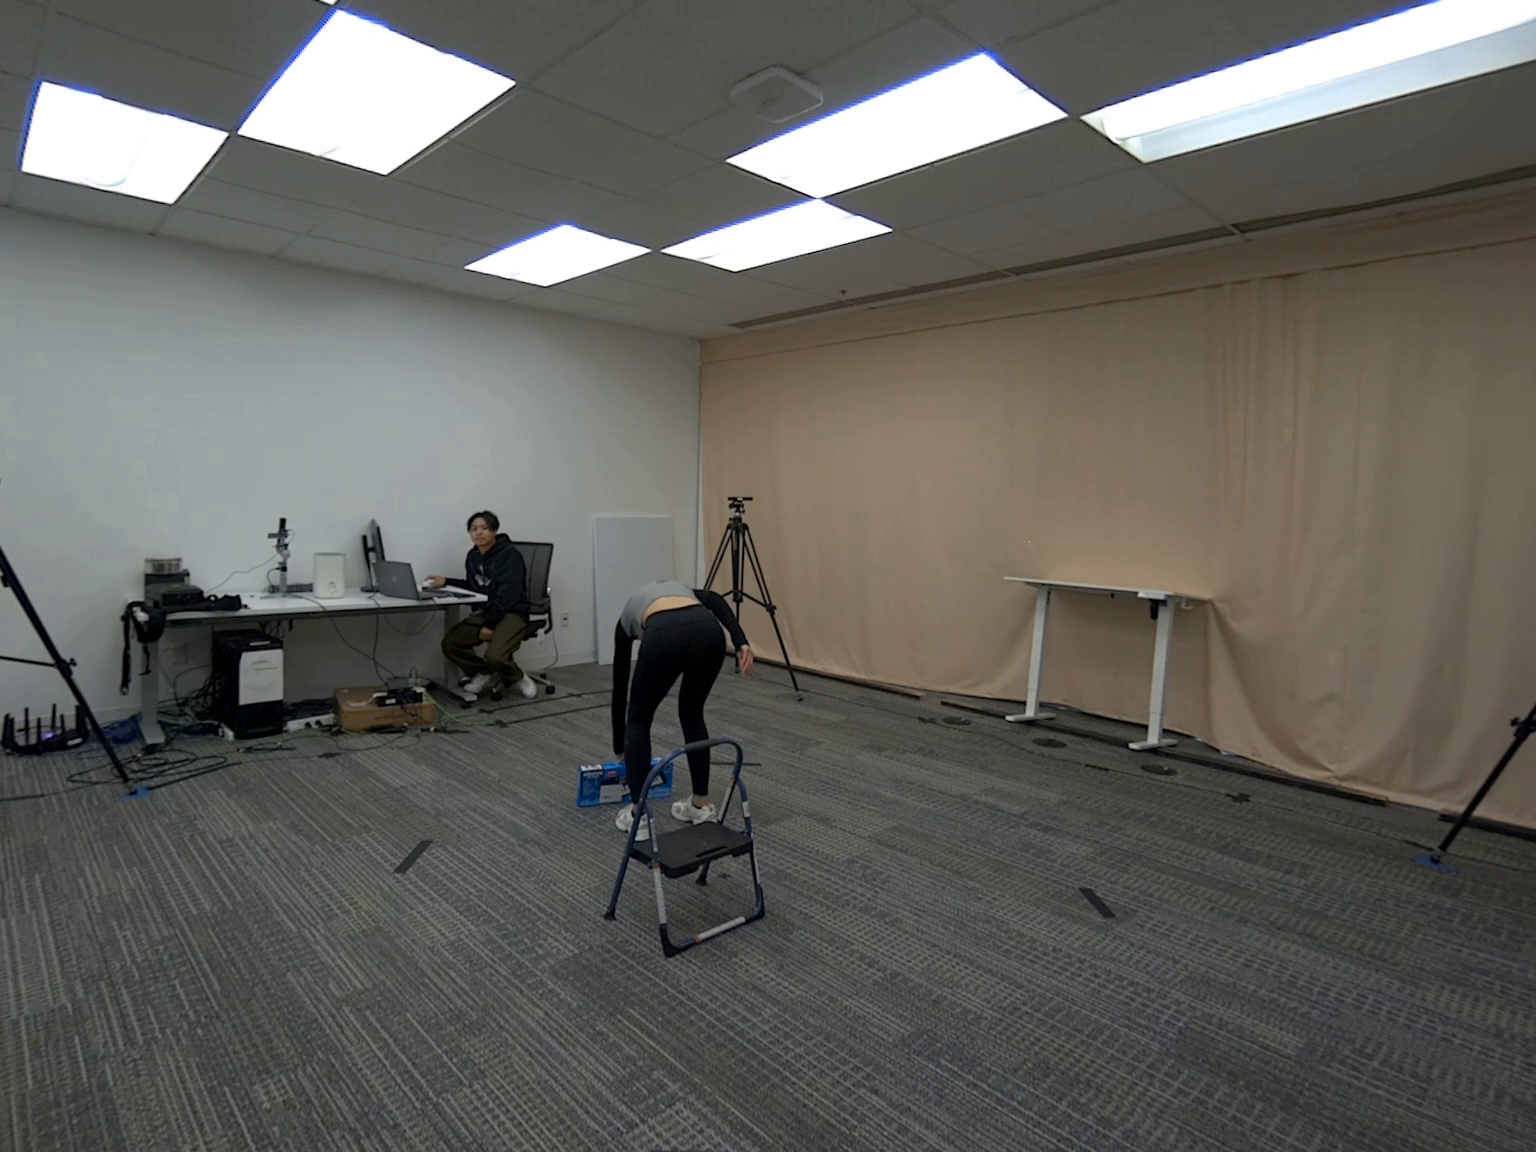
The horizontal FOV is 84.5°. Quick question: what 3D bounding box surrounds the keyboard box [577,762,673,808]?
[{"bbox_3d":[-0.659,0.939,3.846,0.429,0.175,0.060,0,10,-24],"label":"keyboard box"}]
